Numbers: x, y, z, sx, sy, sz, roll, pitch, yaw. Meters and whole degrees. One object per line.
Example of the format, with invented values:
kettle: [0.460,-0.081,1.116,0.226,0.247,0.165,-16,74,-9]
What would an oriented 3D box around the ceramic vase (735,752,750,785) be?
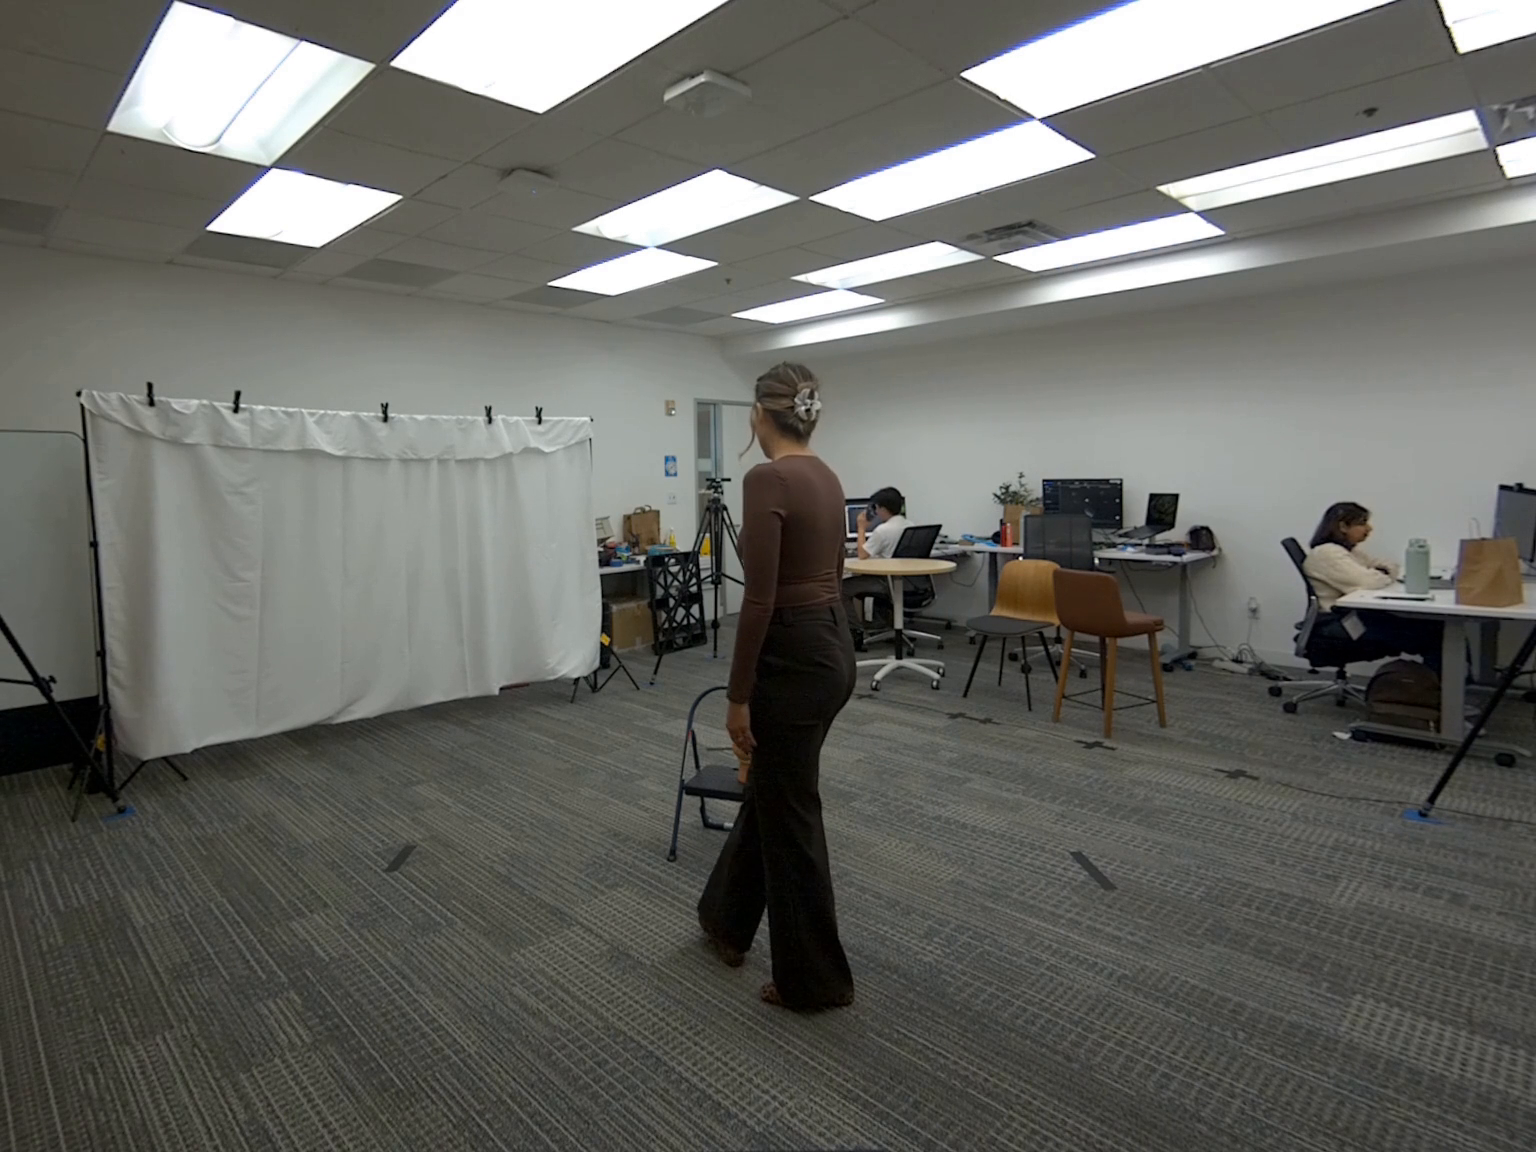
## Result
ceramic vase: [-0.062,0.662,3.215,0.155,0.219,0.139,-5,6,-36]
